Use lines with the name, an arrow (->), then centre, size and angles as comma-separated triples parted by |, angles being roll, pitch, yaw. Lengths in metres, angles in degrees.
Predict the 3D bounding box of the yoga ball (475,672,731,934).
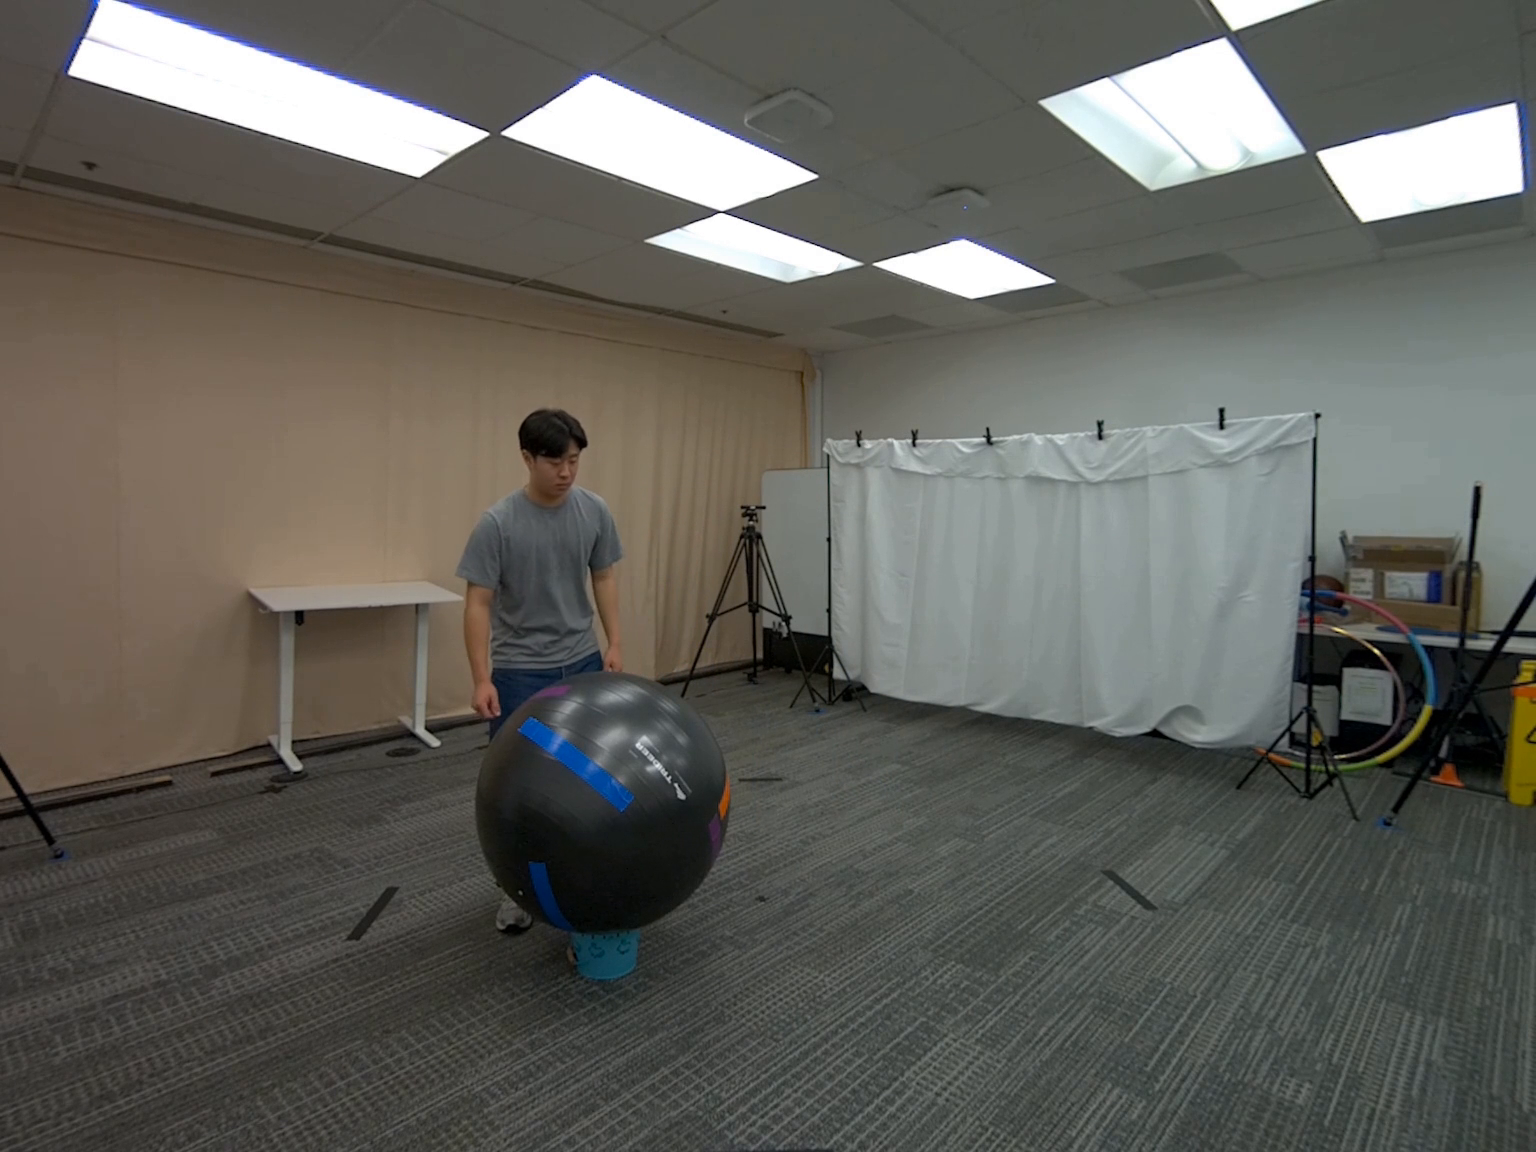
yoga ball -> -0.495, 0.676, 2.540 | 0.757, 0.756, 0.760 | 0, 4, -2
